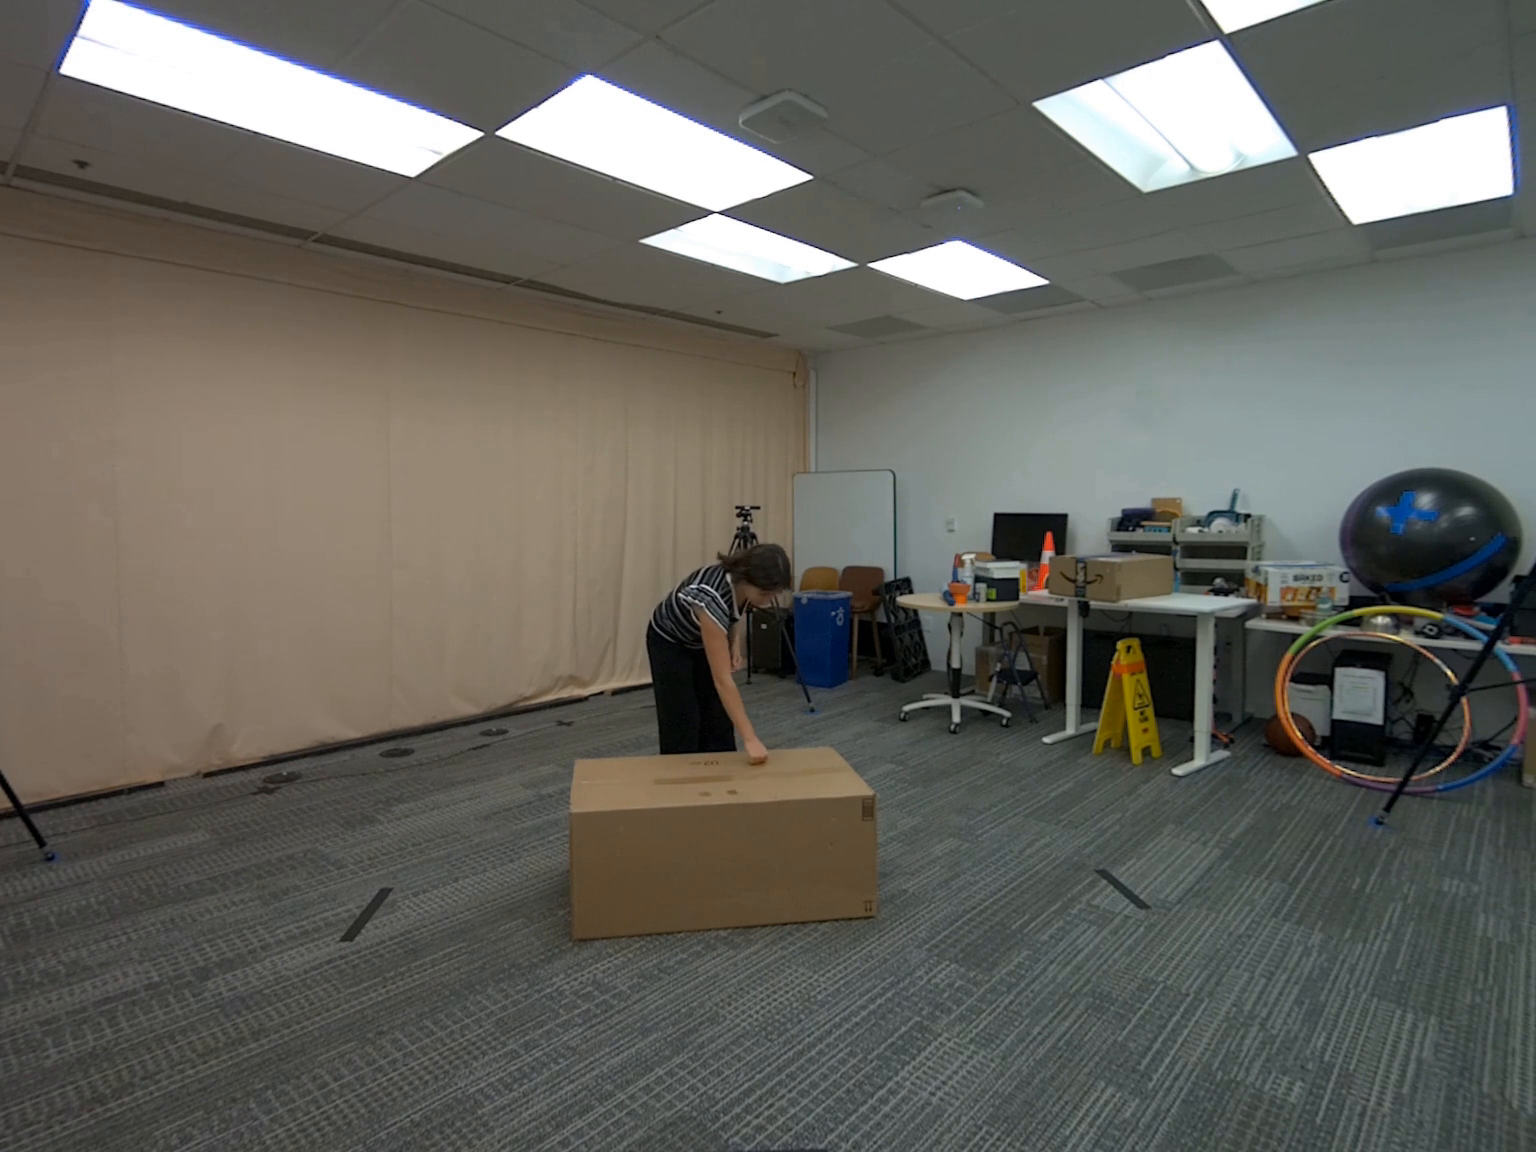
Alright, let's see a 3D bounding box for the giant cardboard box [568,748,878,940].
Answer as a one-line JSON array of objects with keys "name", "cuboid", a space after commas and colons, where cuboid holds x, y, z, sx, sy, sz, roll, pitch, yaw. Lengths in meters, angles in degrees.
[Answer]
[{"name": "giant cardboard box", "cuboid": [-0.187, 0.930, 3.041, 1.016, 0.425, 0.584, -1, 4, -9]}]
